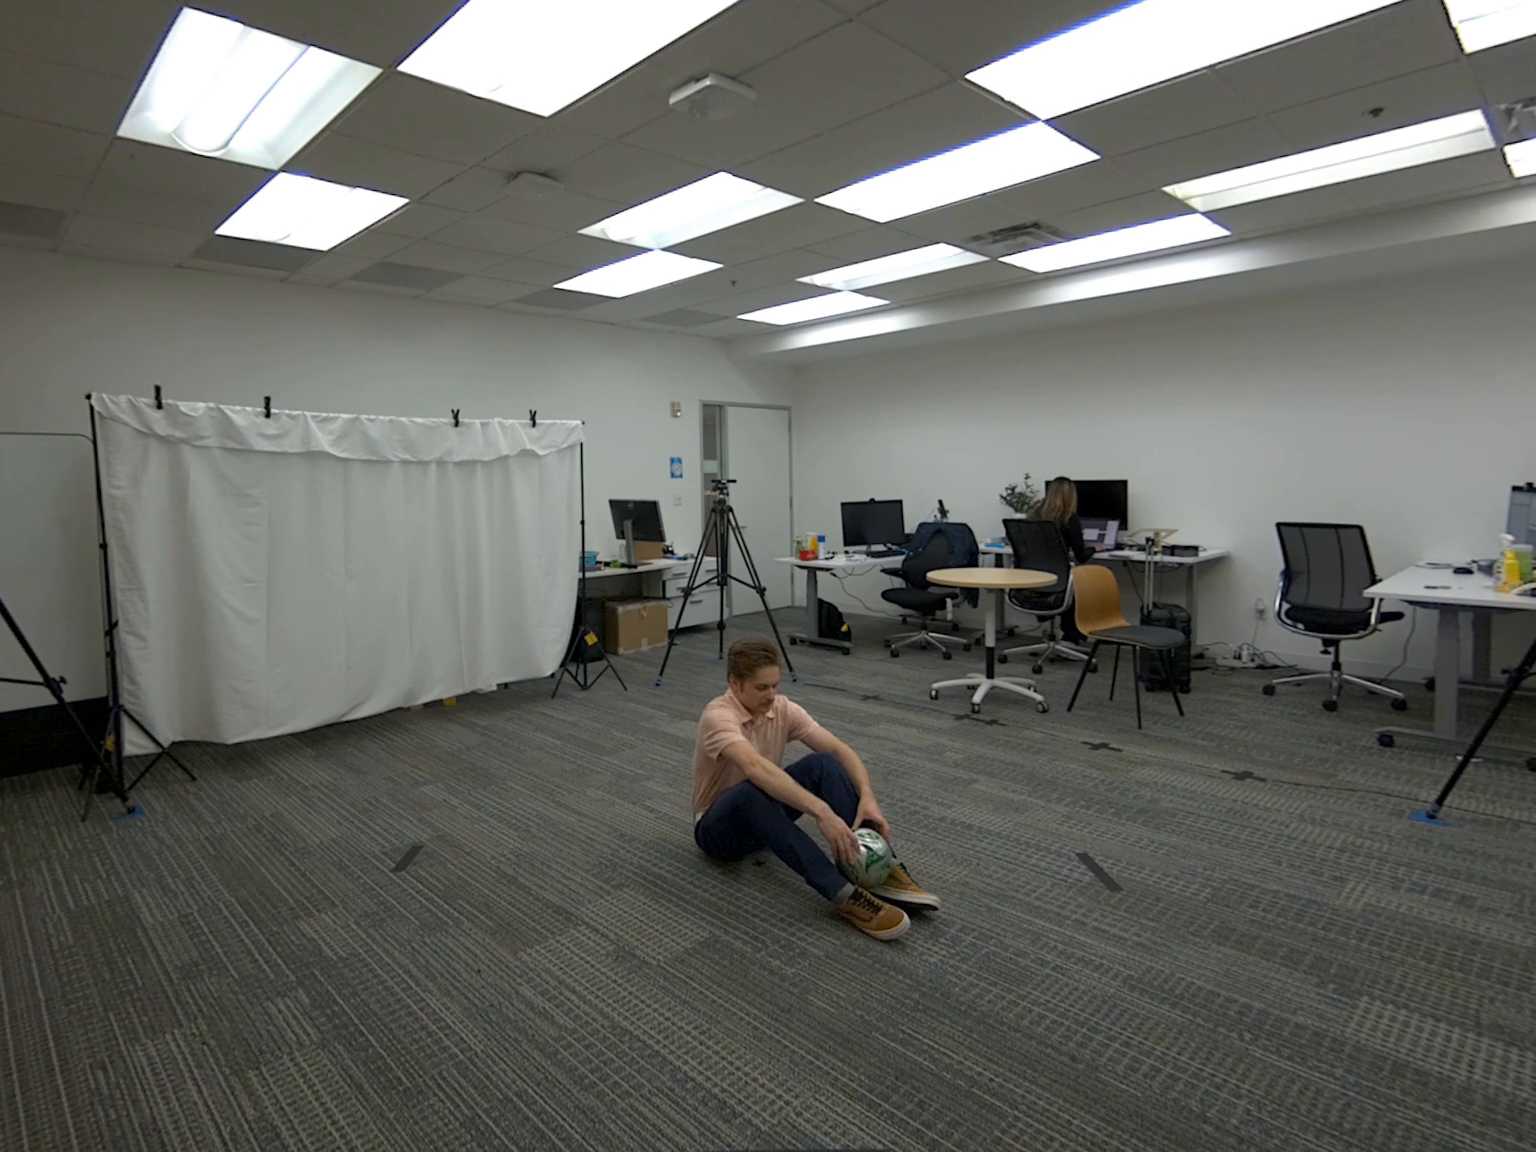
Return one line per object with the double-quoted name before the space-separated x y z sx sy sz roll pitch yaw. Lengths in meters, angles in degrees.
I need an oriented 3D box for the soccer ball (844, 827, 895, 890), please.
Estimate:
"soccer ball" 0.300 0.917 2.776 0.187 0.187 0.188 -1 5 -2
